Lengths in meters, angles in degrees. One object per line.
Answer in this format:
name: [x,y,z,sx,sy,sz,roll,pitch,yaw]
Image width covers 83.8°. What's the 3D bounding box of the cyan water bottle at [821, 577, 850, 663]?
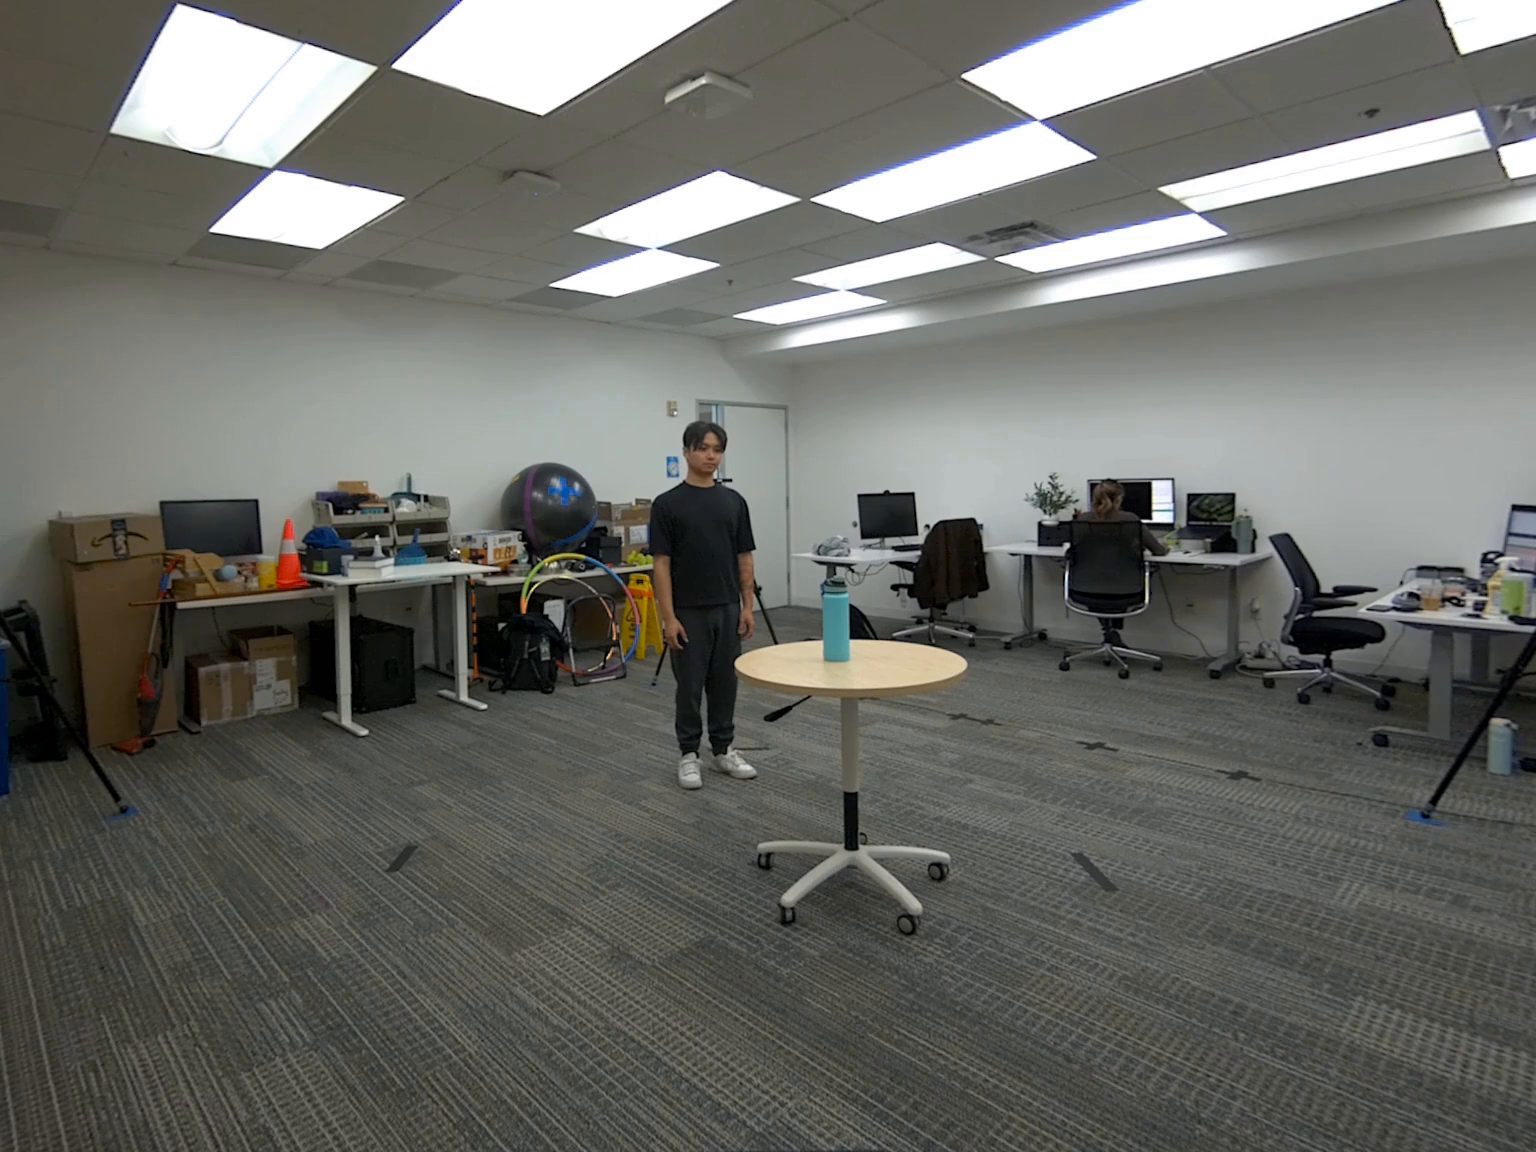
cyan water bottle: [0.234,0.146,2.881,0.092,0.283,0.092,-3,2,-1]
